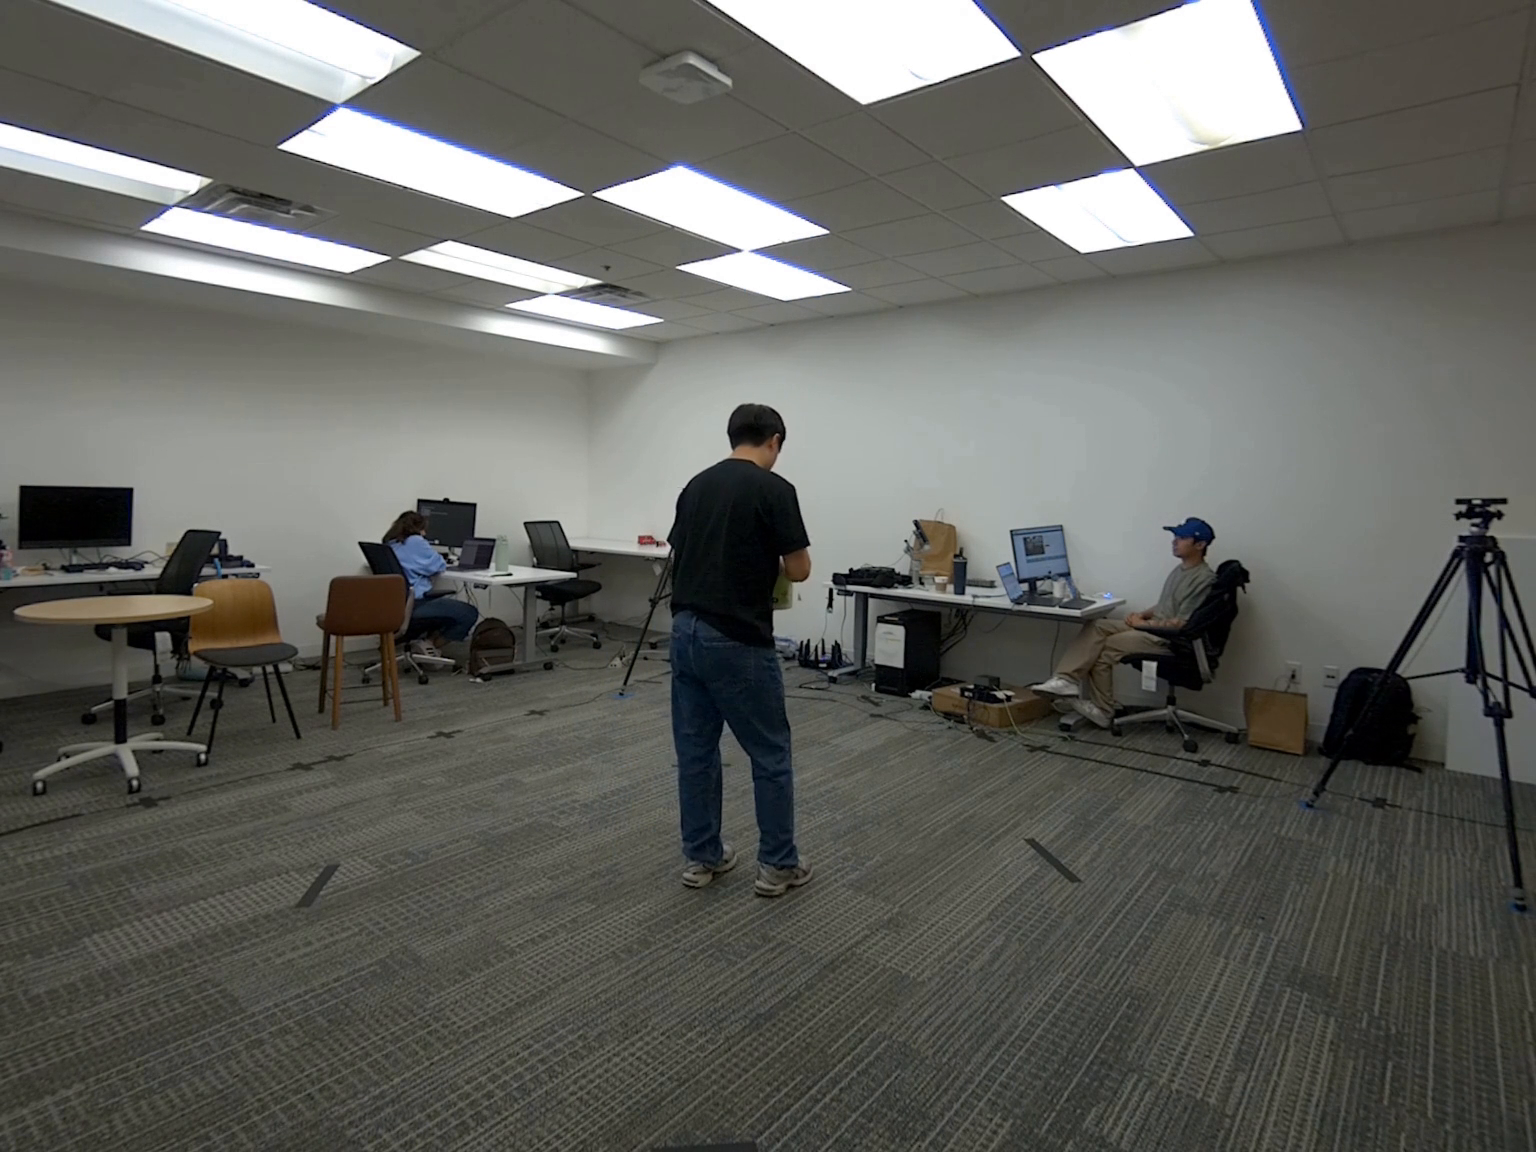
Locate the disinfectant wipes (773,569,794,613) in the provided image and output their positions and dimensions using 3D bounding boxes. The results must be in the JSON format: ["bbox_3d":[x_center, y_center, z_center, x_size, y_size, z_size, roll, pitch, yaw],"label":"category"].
[{"bbox_3d":[0.033,0.019,3.232,0.118,0.216,0.118,-1,6,-2],"label":"disinfectant wipes"}]
